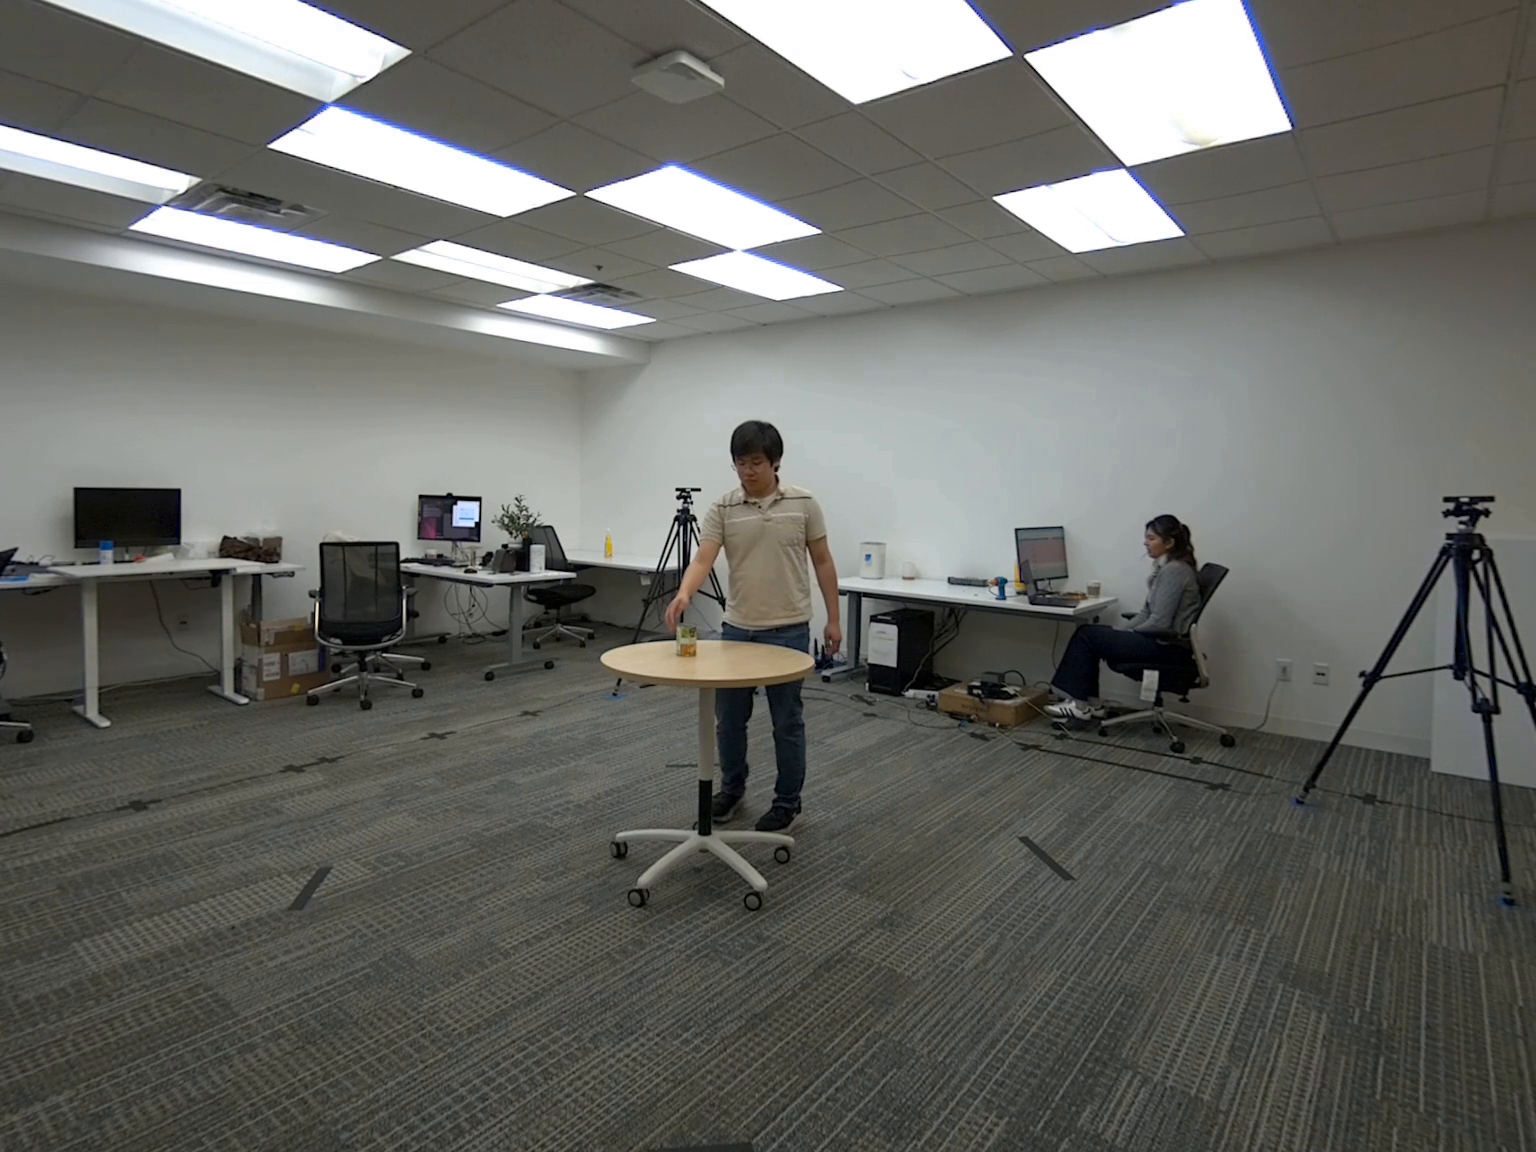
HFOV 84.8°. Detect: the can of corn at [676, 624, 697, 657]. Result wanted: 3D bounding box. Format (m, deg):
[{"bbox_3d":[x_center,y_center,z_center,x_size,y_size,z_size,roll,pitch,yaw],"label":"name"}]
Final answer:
[{"bbox_3d":[-0.311,0.230,3.098,0.074,0.111,0.074,1,1,-2],"label":"can of corn"}]
